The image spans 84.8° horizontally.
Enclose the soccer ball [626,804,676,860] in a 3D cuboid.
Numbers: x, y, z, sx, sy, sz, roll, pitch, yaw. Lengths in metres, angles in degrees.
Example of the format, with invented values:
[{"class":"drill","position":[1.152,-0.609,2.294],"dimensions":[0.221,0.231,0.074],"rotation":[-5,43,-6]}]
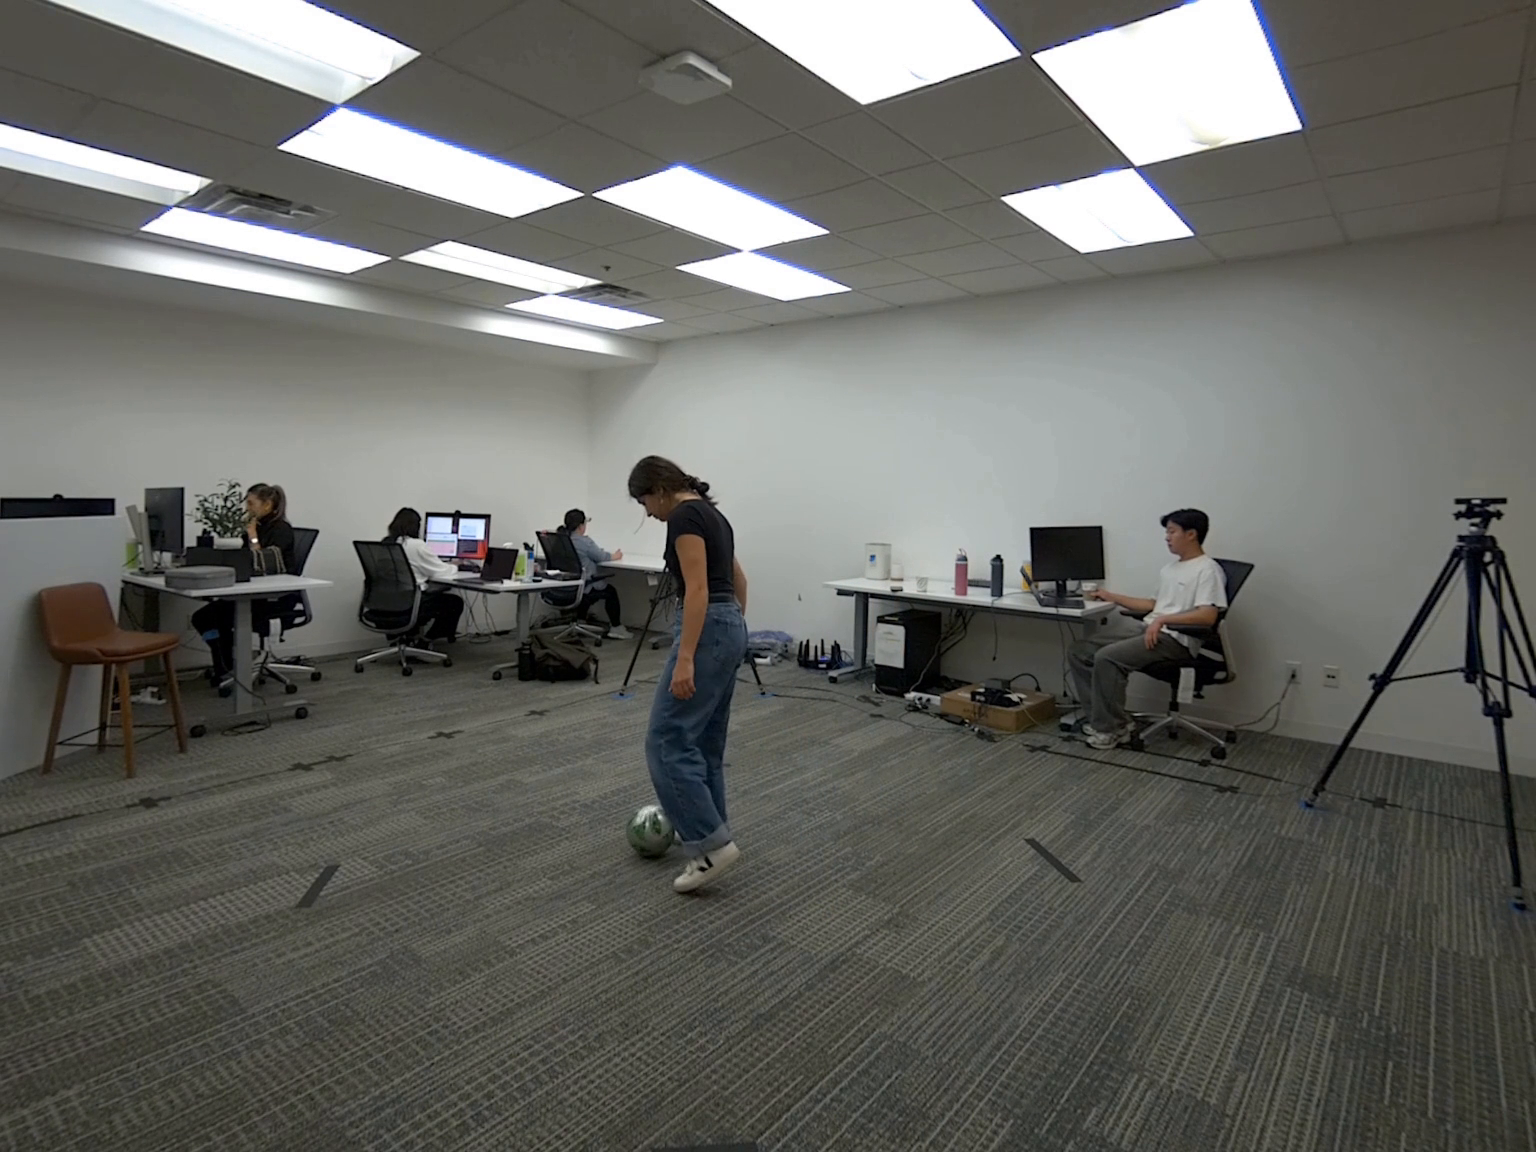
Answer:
[{"class":"soccer ball","position":[-0.439,0.955,3.229],"dimensions":[0.187,0.187,0.188],"rotation":[1,4,-2]}]
